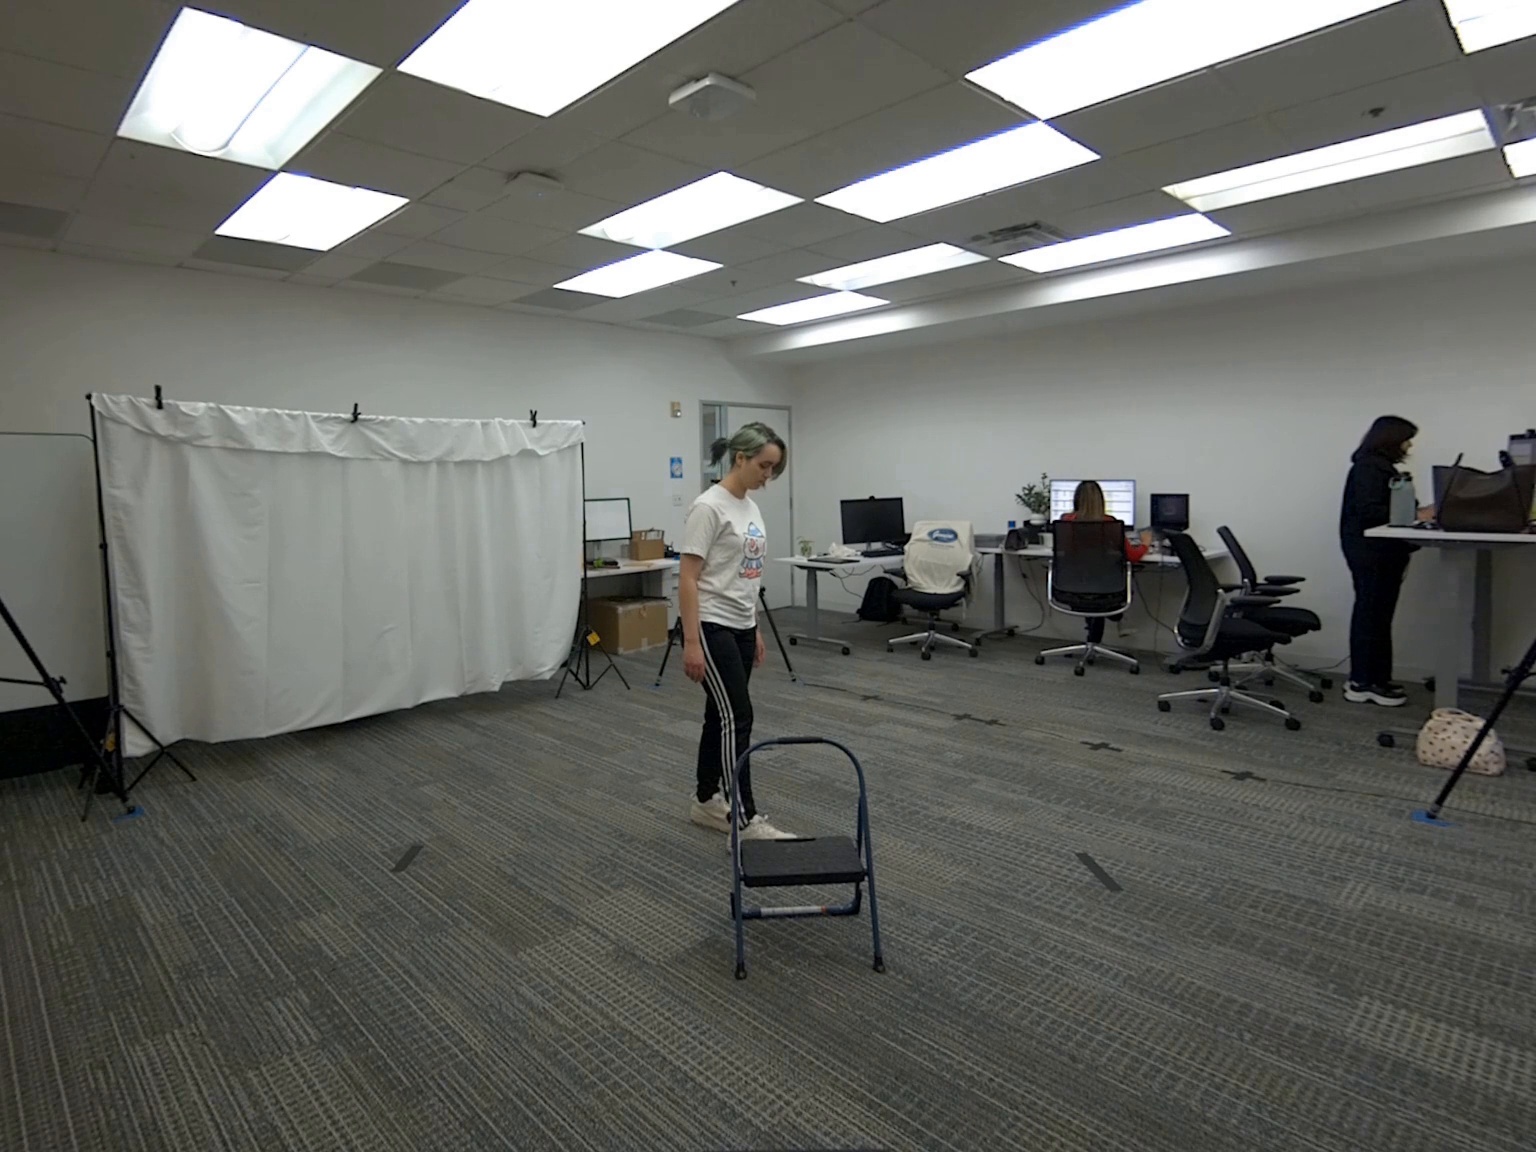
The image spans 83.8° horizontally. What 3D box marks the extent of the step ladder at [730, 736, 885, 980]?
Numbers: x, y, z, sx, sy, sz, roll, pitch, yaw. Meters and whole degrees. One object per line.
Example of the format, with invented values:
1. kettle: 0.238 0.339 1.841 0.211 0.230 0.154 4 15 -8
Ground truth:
1. step ladder: 0.106 0.806 2.560 0.429 0.604 0.352 -1 4 -5
